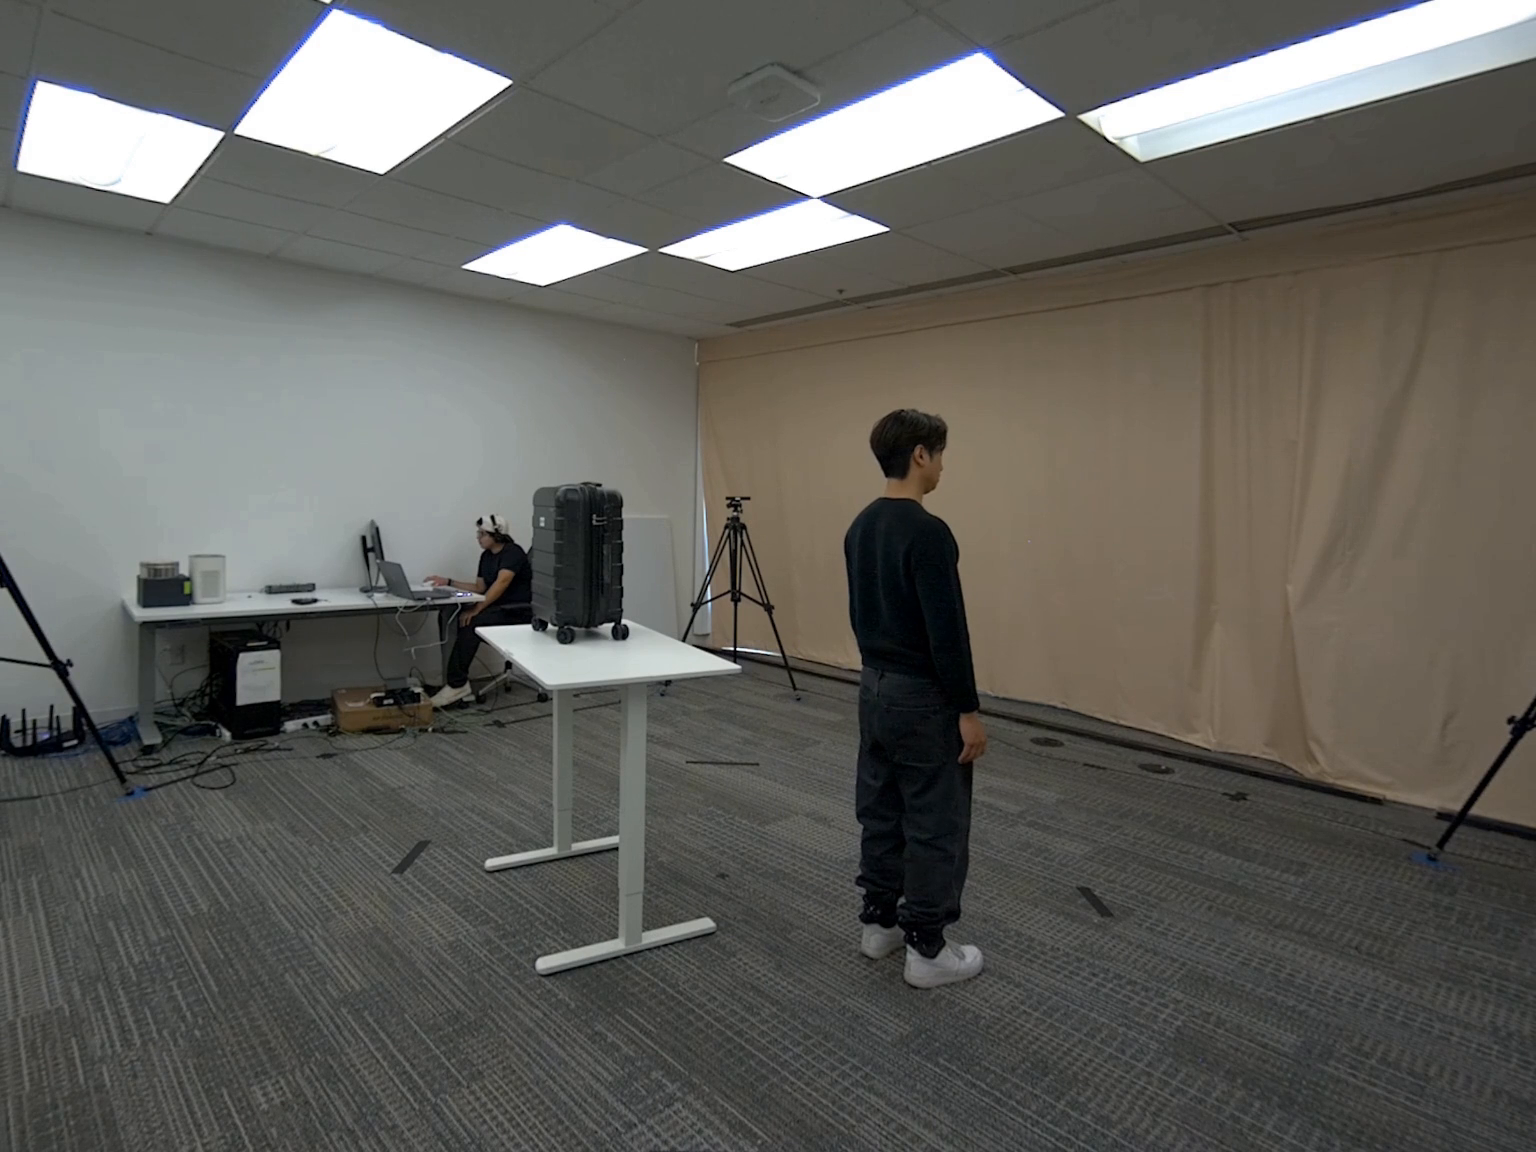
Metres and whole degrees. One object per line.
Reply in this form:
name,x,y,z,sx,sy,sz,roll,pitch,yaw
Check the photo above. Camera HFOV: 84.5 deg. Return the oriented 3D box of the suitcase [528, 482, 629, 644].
suitcase,-0.692,-0.062,3.042,0.243,0.547,0.384,-2,5,-31
